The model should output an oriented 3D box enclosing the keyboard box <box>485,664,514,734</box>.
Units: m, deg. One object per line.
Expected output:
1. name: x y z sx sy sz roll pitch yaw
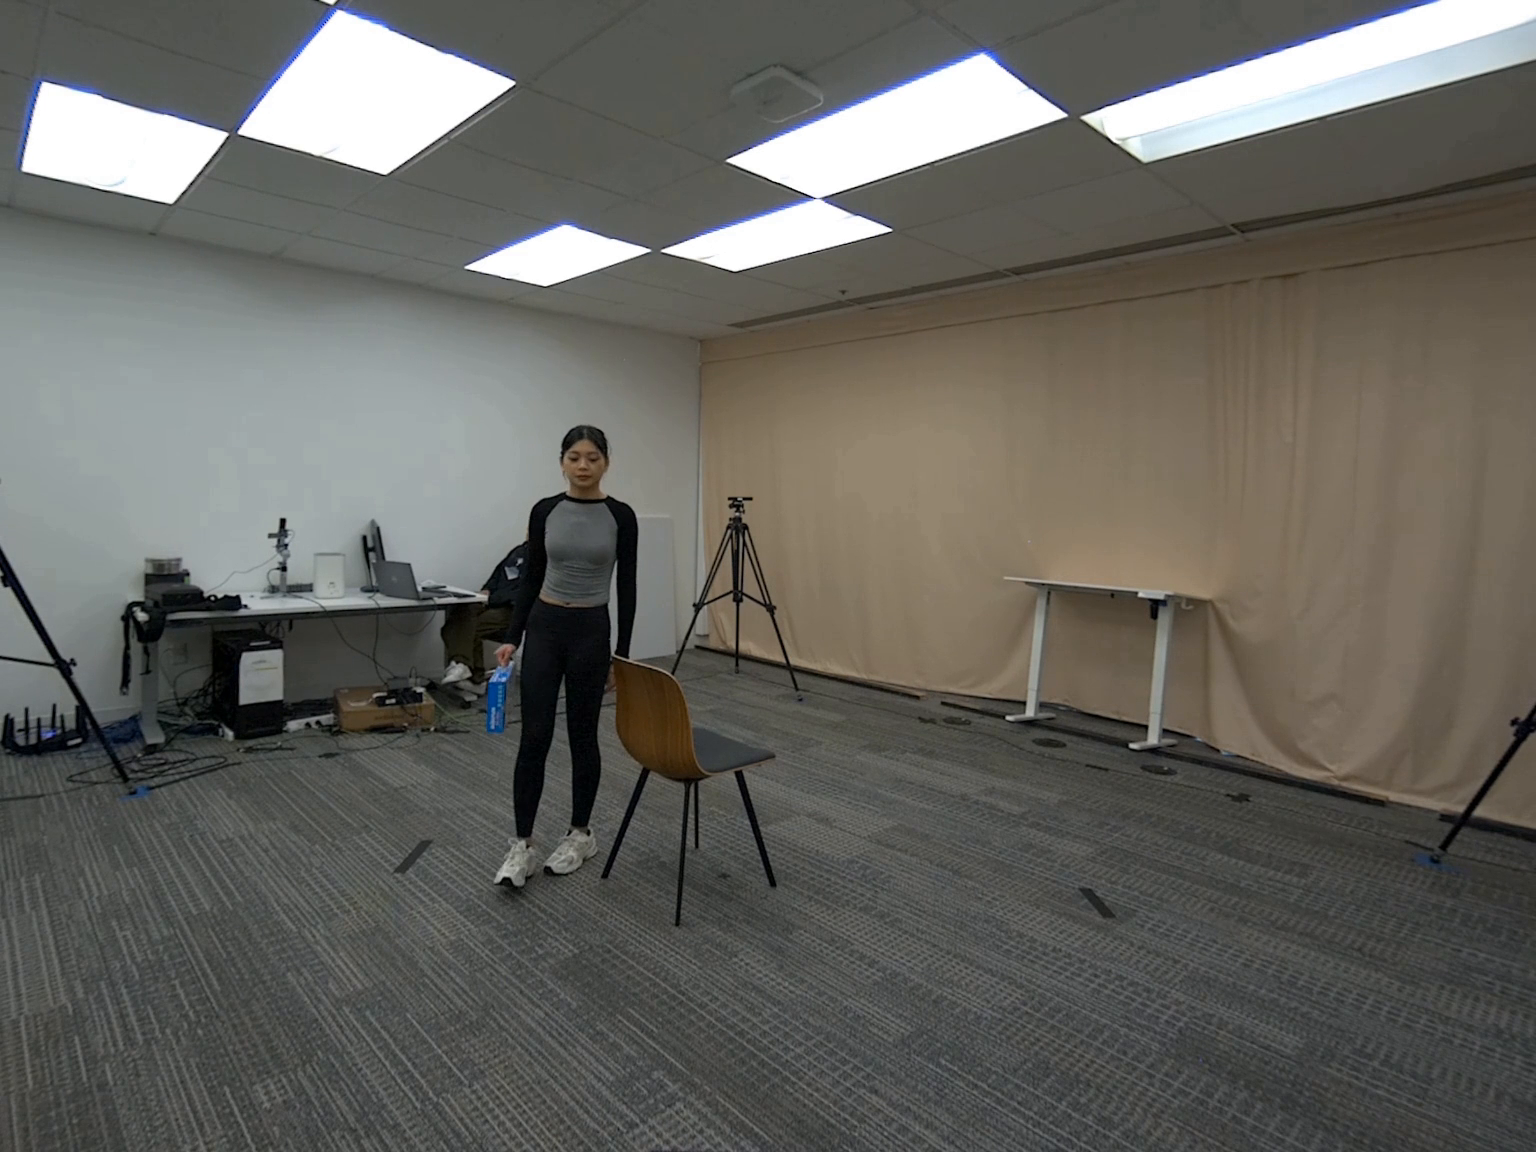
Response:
1. keyboard box: -0.964 0.426 3.043 0.058 0.176 0.442 2 3 -15
